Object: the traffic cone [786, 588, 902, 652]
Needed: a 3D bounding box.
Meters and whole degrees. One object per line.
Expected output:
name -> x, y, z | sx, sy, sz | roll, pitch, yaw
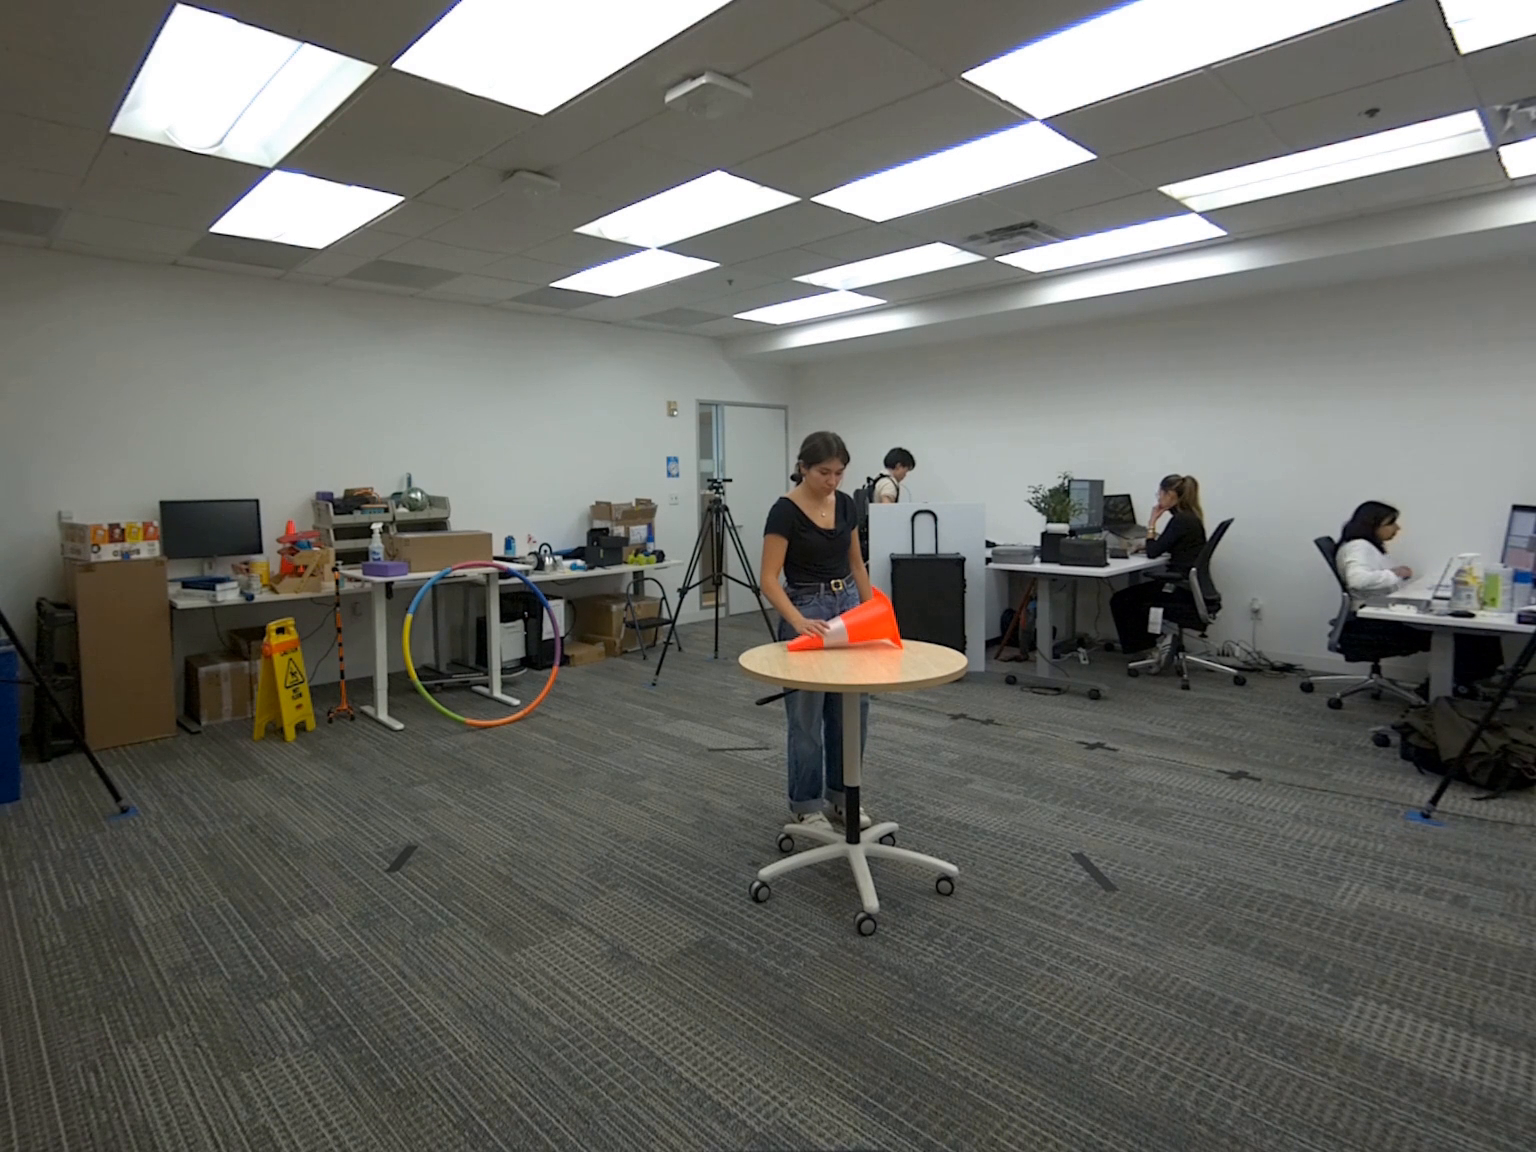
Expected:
traffic cone -> 0.250, 0.200, 3.077 | 0.381, 0.200, 0.209 | -15, 22, -10
